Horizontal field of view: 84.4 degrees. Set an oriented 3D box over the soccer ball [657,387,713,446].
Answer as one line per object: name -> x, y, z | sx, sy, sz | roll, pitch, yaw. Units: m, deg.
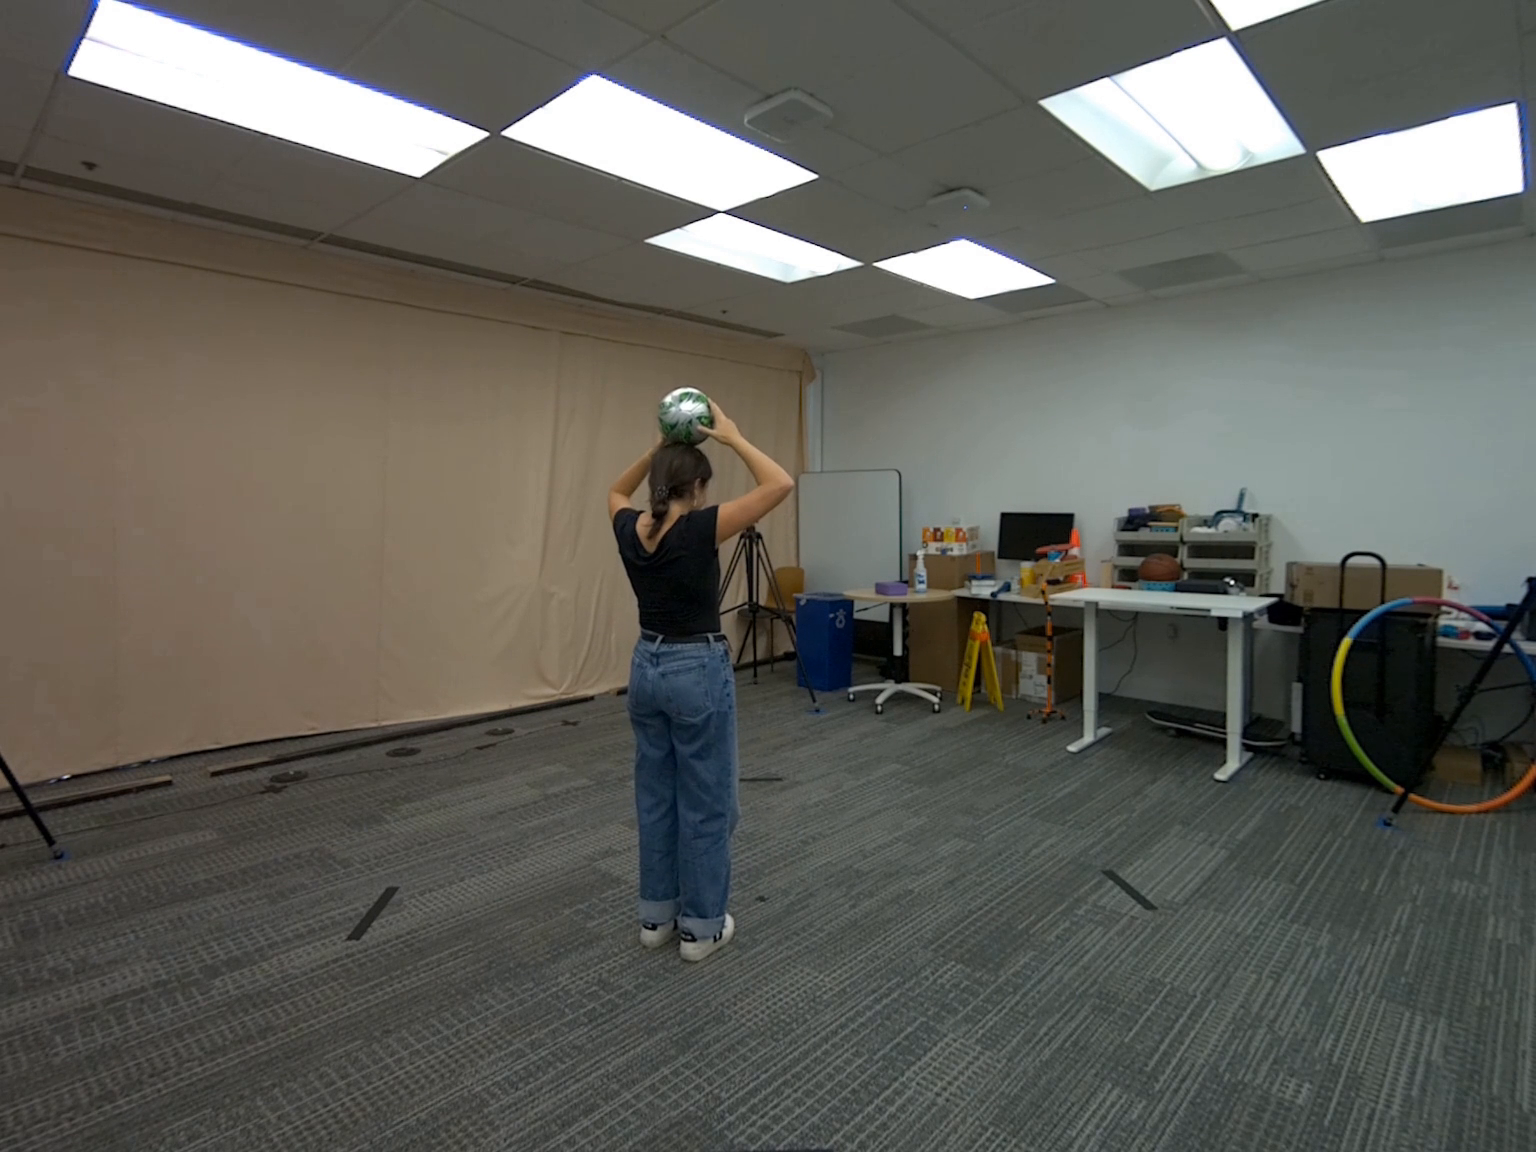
soccer ball -> -0.249, -0.496, 2.659 | 0.187, 0.187, 0.188 | 0, 4, -2
